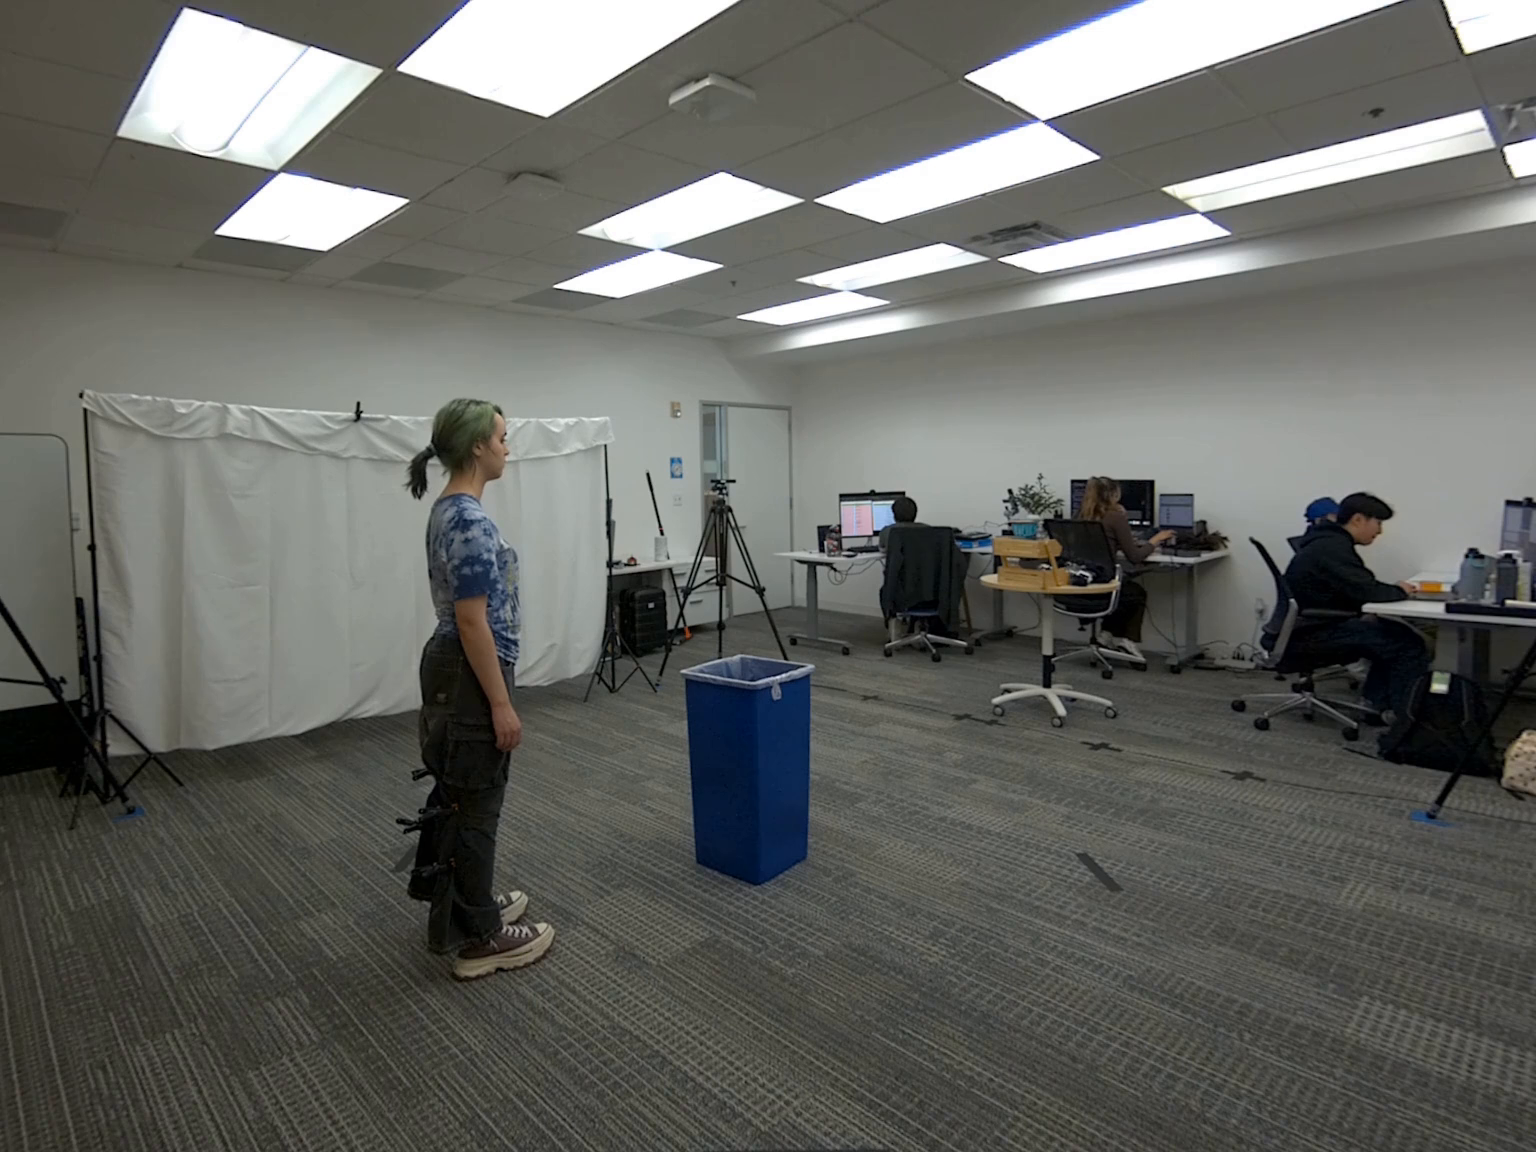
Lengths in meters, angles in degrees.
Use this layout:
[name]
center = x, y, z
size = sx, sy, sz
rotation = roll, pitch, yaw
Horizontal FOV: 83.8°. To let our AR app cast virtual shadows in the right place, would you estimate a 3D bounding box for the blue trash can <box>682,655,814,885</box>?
[blue trash can]
center = -0.070, 0.687, 3.126
size = 0.385, 0.711, 0.368
rotation = 3, 5, 40
